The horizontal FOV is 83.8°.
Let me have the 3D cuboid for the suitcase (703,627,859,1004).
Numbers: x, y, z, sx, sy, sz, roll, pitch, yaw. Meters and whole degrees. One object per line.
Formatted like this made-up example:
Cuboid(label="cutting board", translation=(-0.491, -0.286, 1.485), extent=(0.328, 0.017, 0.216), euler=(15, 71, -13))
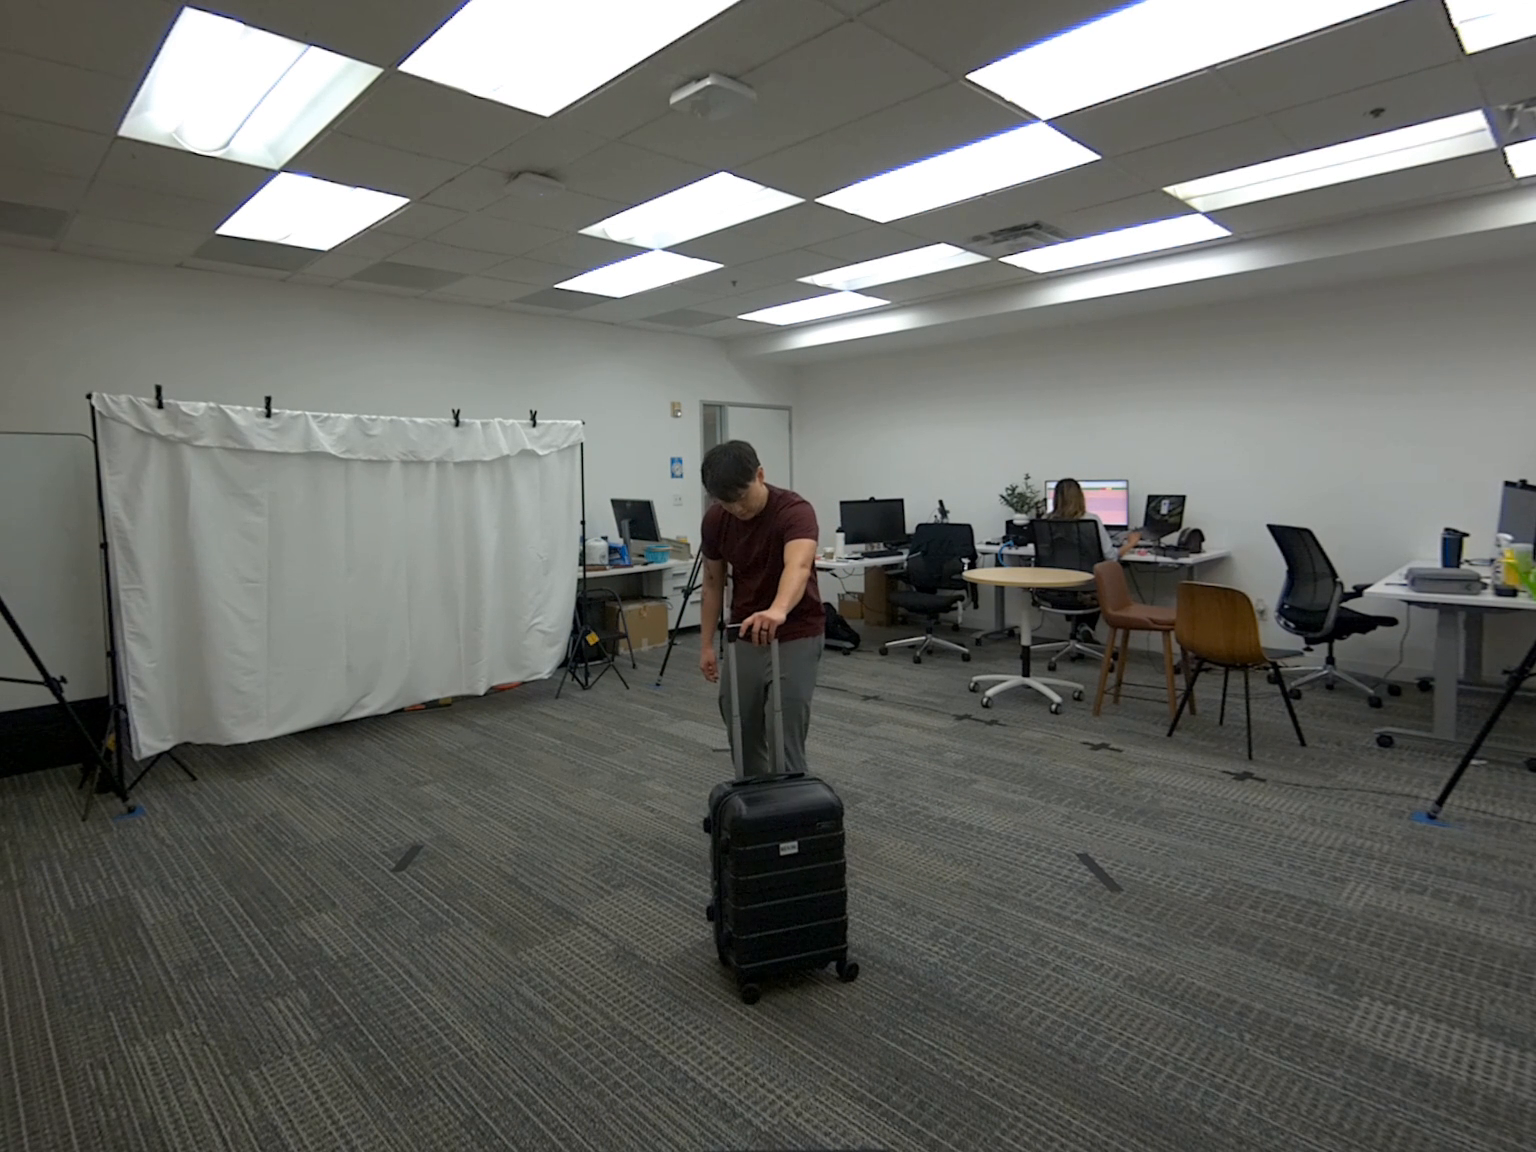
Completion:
Cuboid(label="suitcase", translation=(0.025, 0.653, 2.404), extent=(0.378, 0.973, 0.262), euler=(-3, 6, -18))
